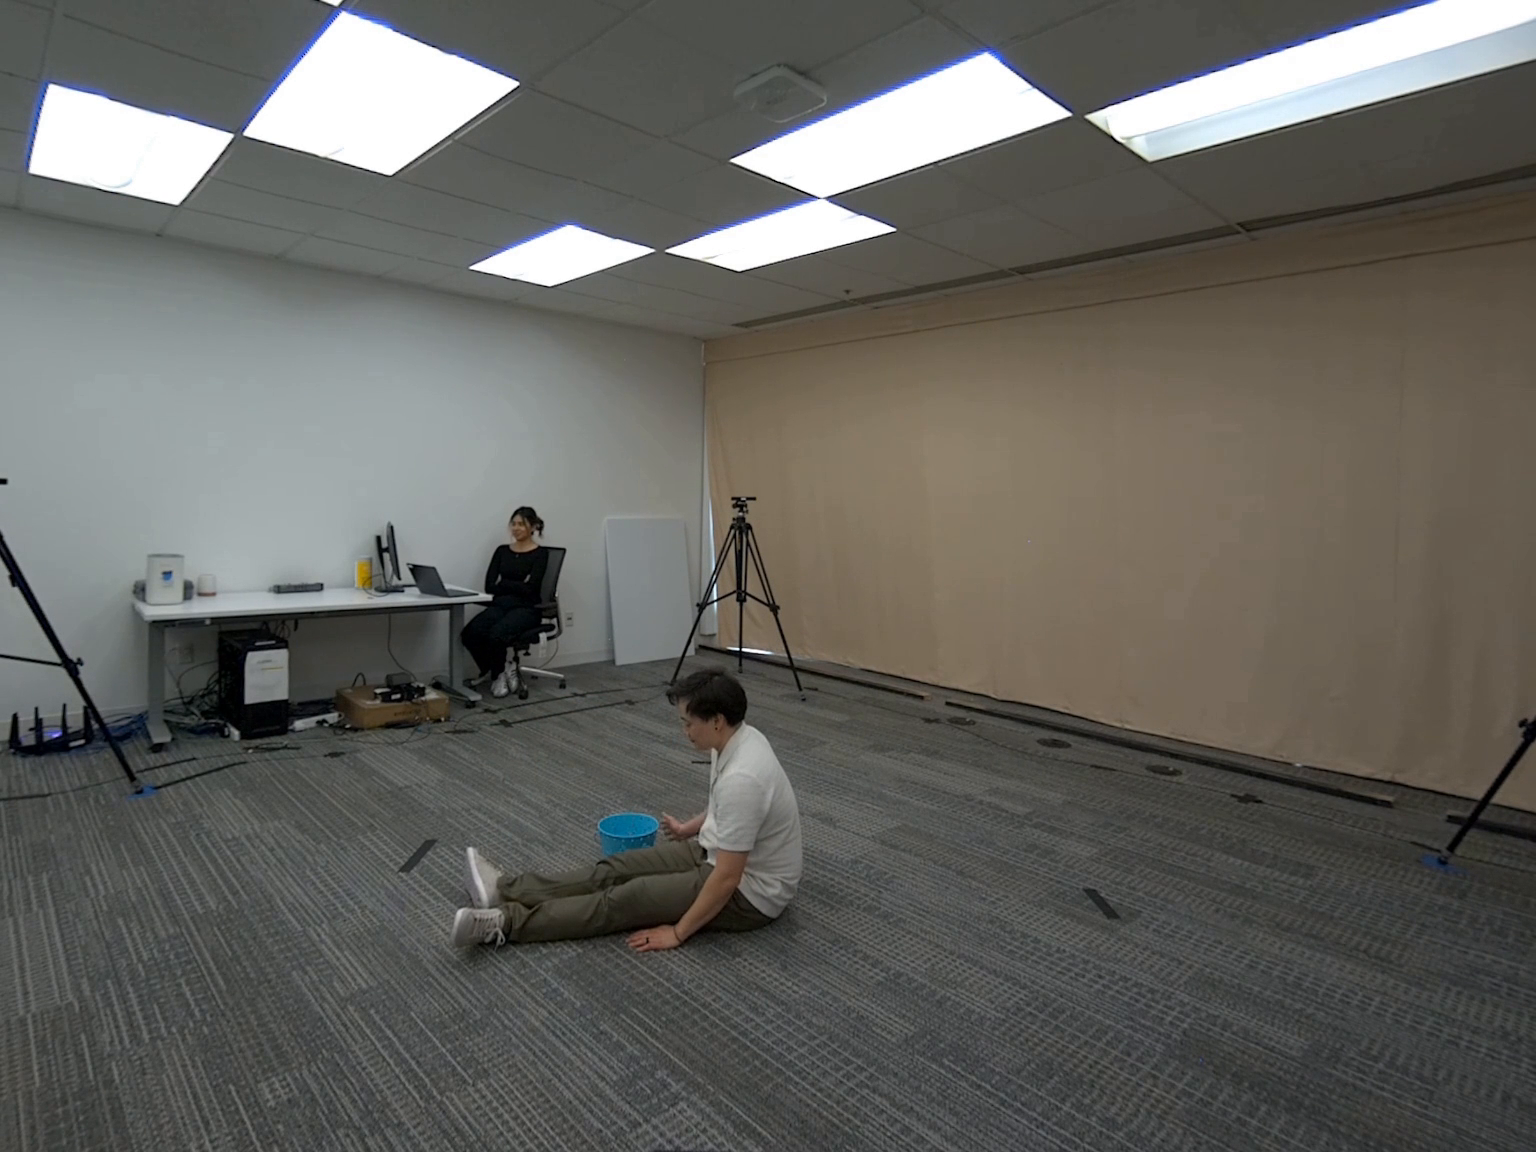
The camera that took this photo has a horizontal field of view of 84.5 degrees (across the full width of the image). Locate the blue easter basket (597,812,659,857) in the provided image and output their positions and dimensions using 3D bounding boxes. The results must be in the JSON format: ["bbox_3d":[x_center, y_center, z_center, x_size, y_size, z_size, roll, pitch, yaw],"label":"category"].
[{"bbox_3d":[-0.533,1.011,3.191,0.243,0.155,0.244,2,4,-1],"label":"blue easter basket"}]
